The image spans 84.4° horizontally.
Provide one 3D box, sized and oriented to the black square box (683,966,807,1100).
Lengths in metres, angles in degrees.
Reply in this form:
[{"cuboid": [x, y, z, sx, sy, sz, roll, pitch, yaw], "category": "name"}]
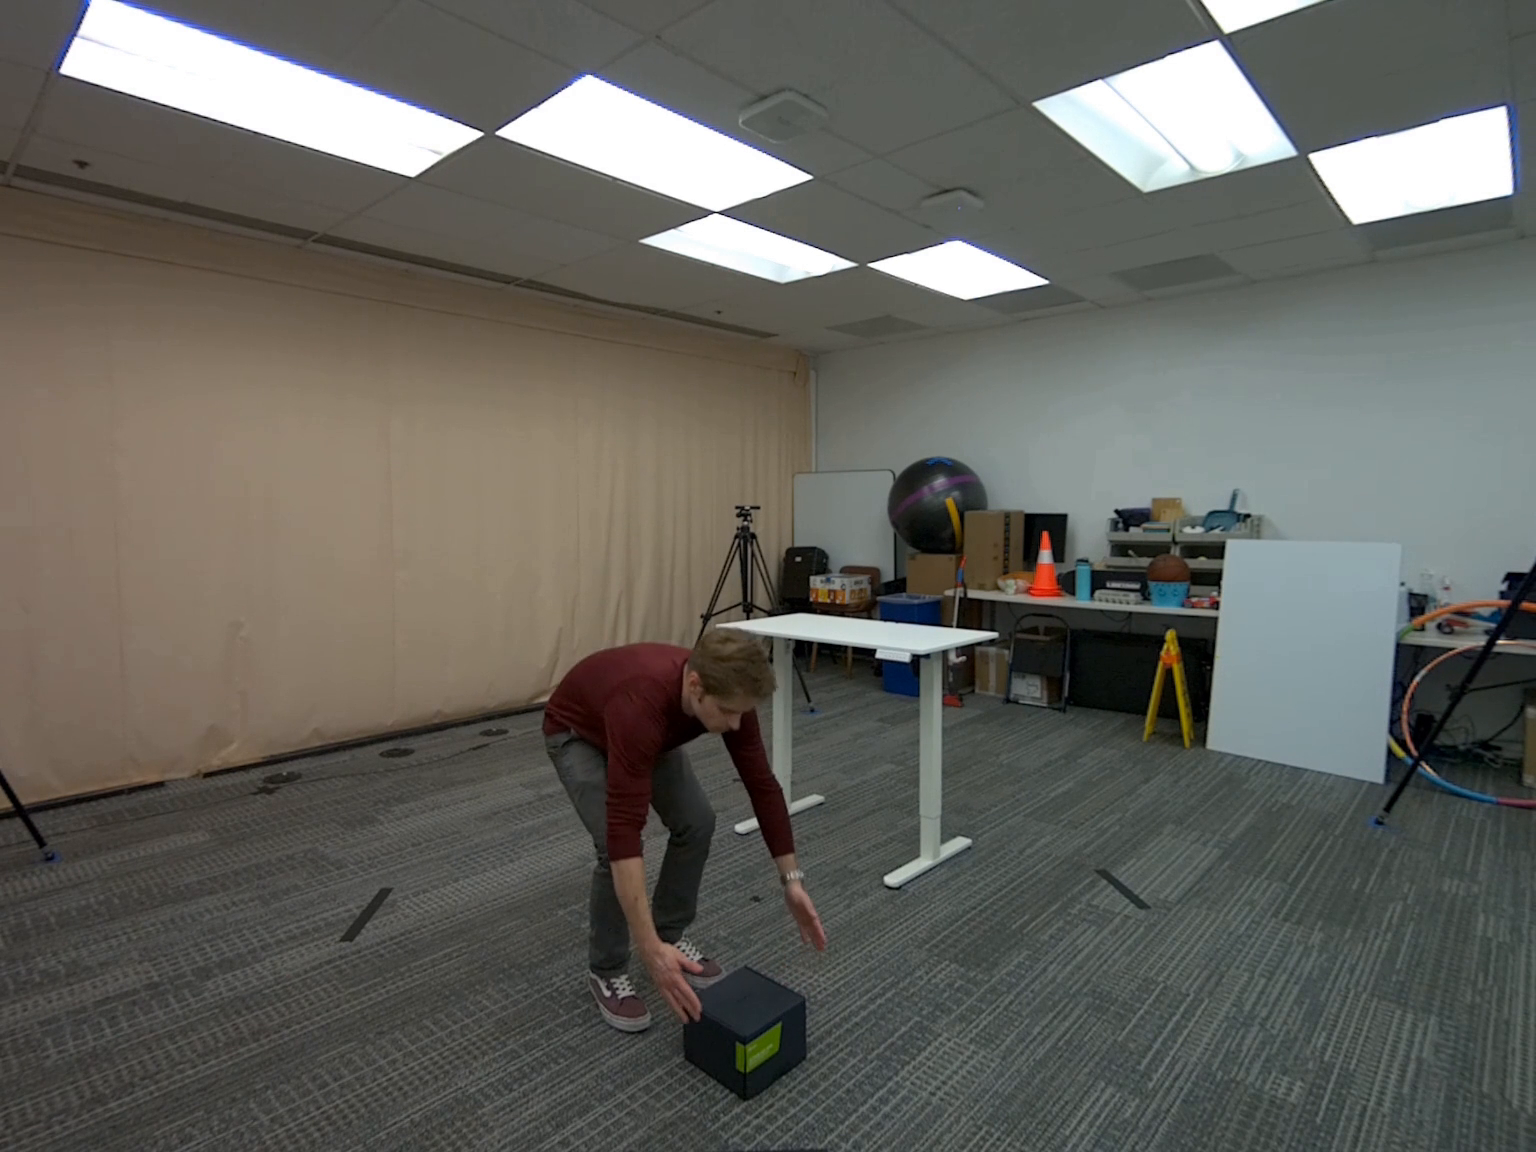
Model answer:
[{"cuboid": [-0.052, 1.136, 2.112, 0.224, 0.155, 0.221, 4, 6, 43], "category": "black square box"}]
